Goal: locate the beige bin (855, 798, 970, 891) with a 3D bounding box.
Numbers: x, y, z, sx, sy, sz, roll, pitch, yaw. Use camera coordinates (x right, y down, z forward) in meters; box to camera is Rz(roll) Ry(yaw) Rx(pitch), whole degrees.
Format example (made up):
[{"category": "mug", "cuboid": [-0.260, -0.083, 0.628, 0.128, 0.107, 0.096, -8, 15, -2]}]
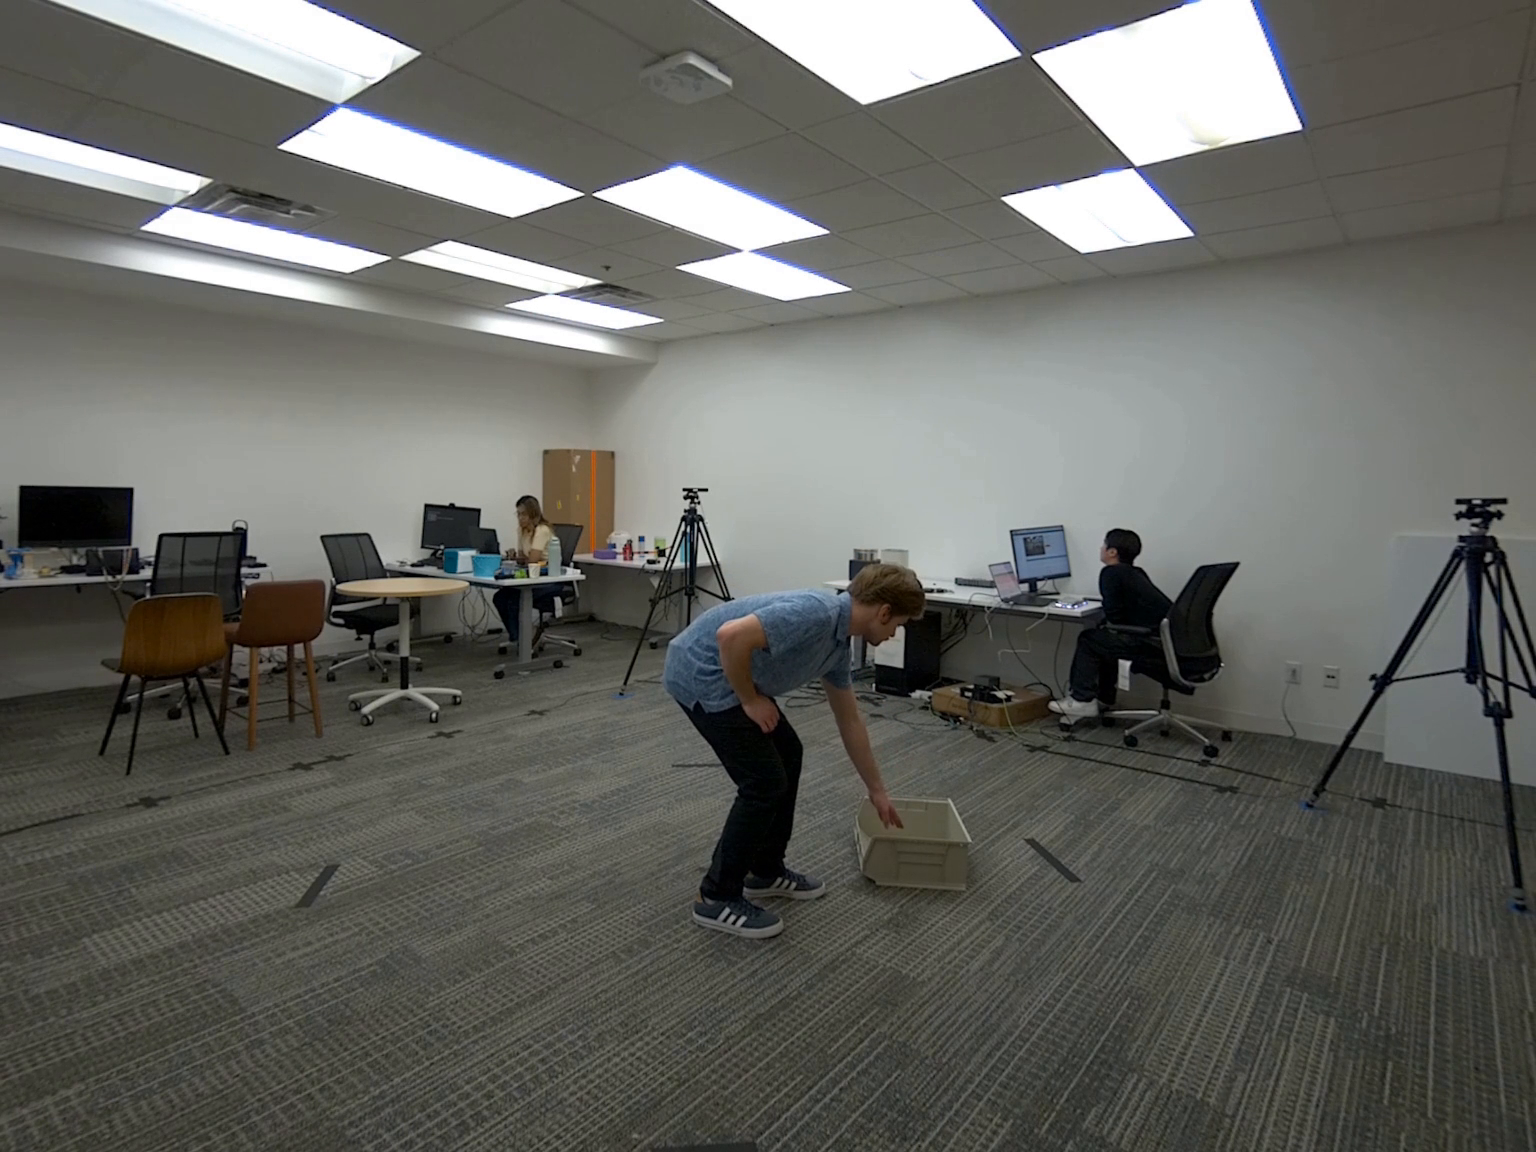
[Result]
[{"category": "beige bin", "cuboid": [0.524, 0.987, 3.200, 0.379, 0.188, 0.422, 2, 5, 3]}]
